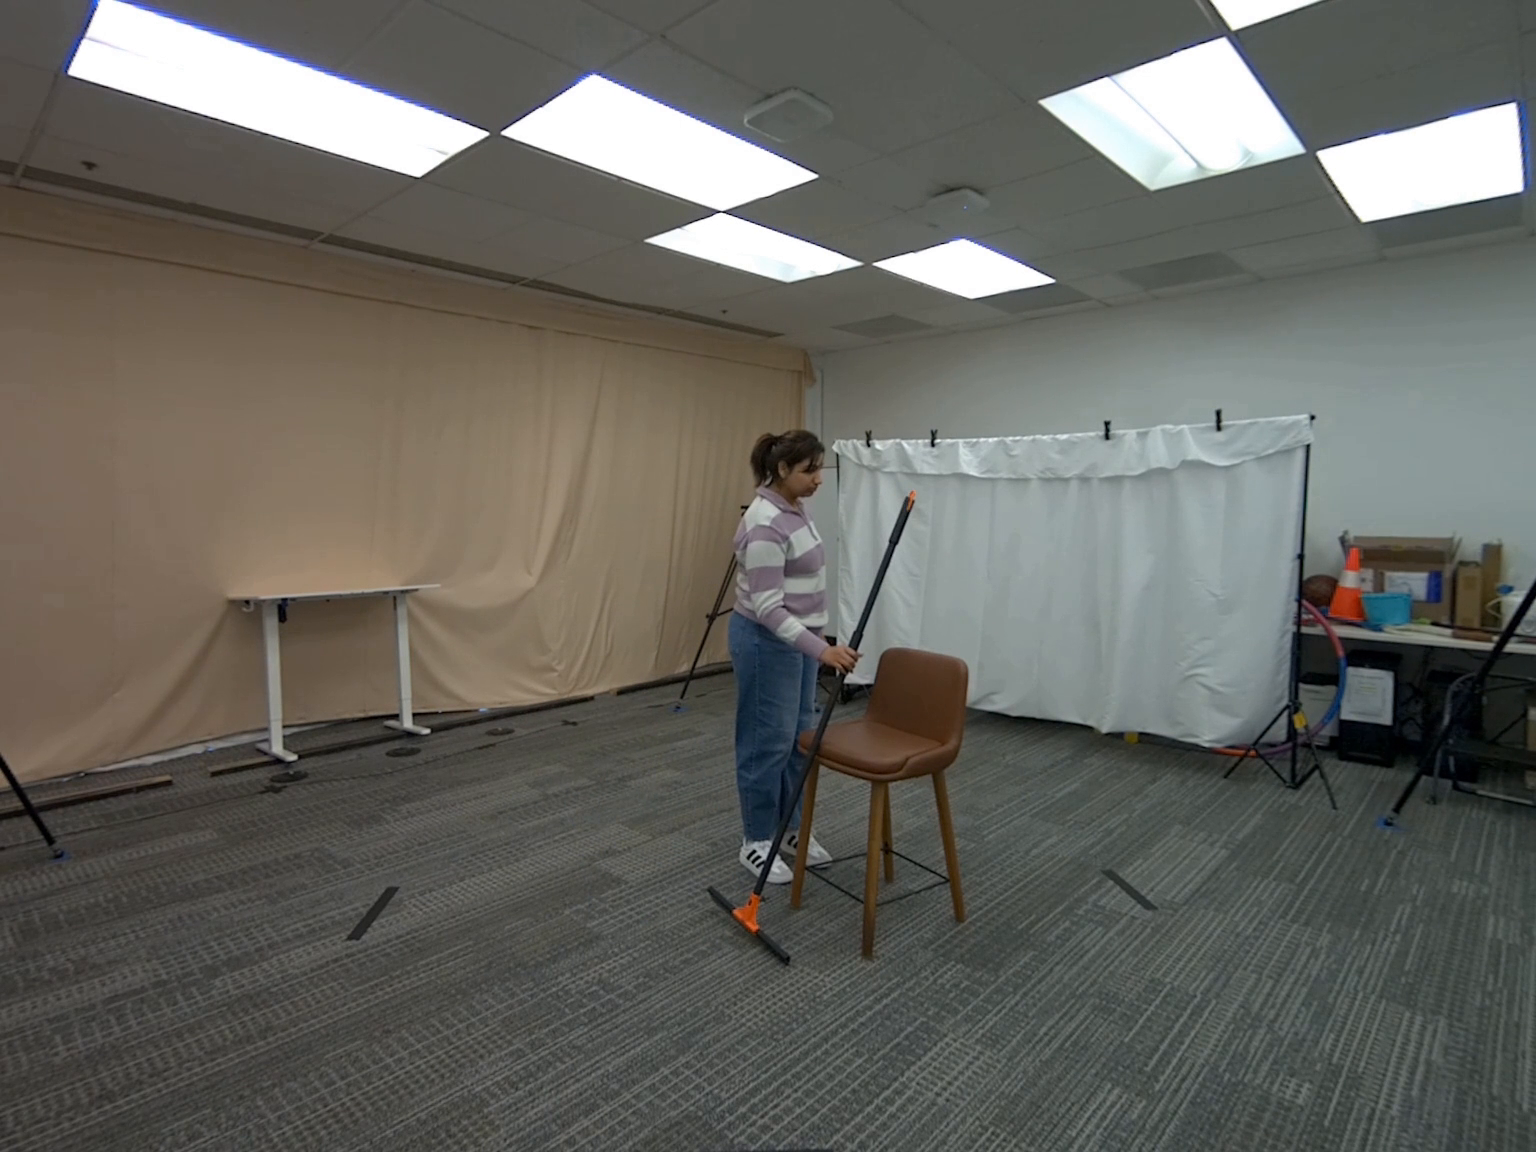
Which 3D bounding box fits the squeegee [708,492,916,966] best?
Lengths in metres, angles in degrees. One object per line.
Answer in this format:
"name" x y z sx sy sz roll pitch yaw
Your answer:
"squeegee" 0.212 0.423 2.761 0.051 1.538 0.453 24 -4 -38
